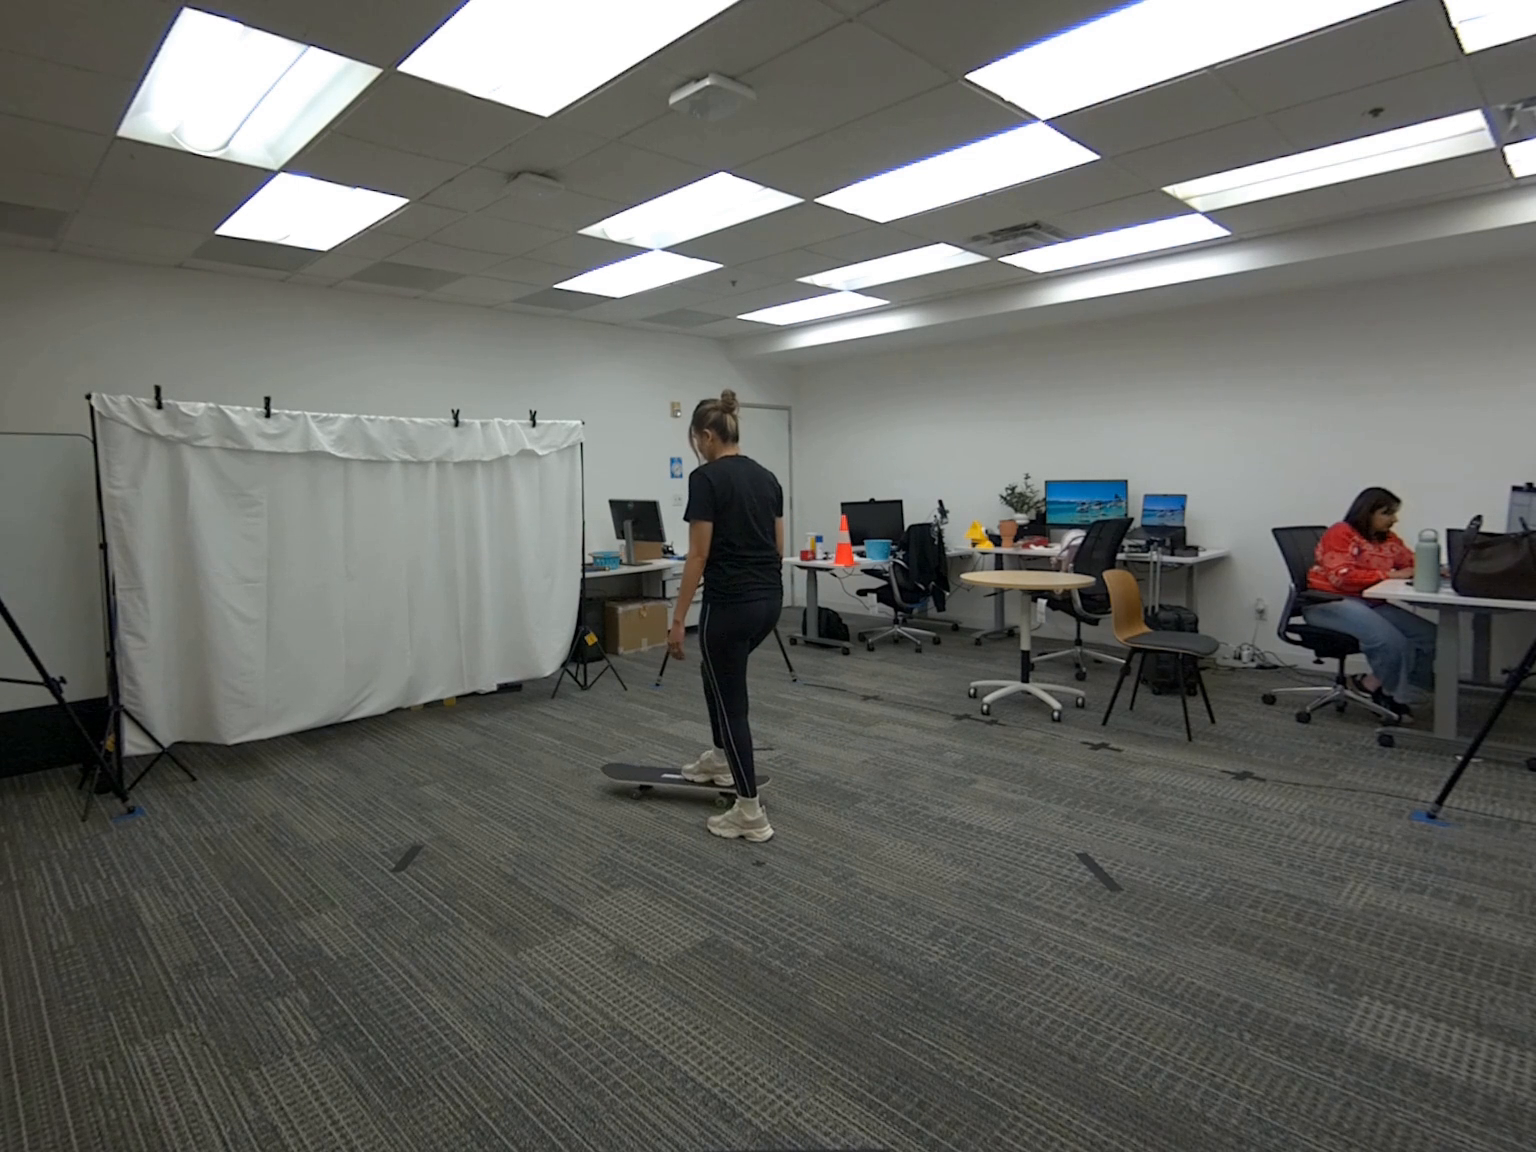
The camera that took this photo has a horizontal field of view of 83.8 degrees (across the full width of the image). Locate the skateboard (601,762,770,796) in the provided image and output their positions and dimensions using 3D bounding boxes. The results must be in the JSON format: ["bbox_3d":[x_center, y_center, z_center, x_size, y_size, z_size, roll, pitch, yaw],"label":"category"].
[{"bbox_3d":[-0.363,0.923,3.770,0.798,0.110,0.191,0,7,16],"label":"skateboard"}]
